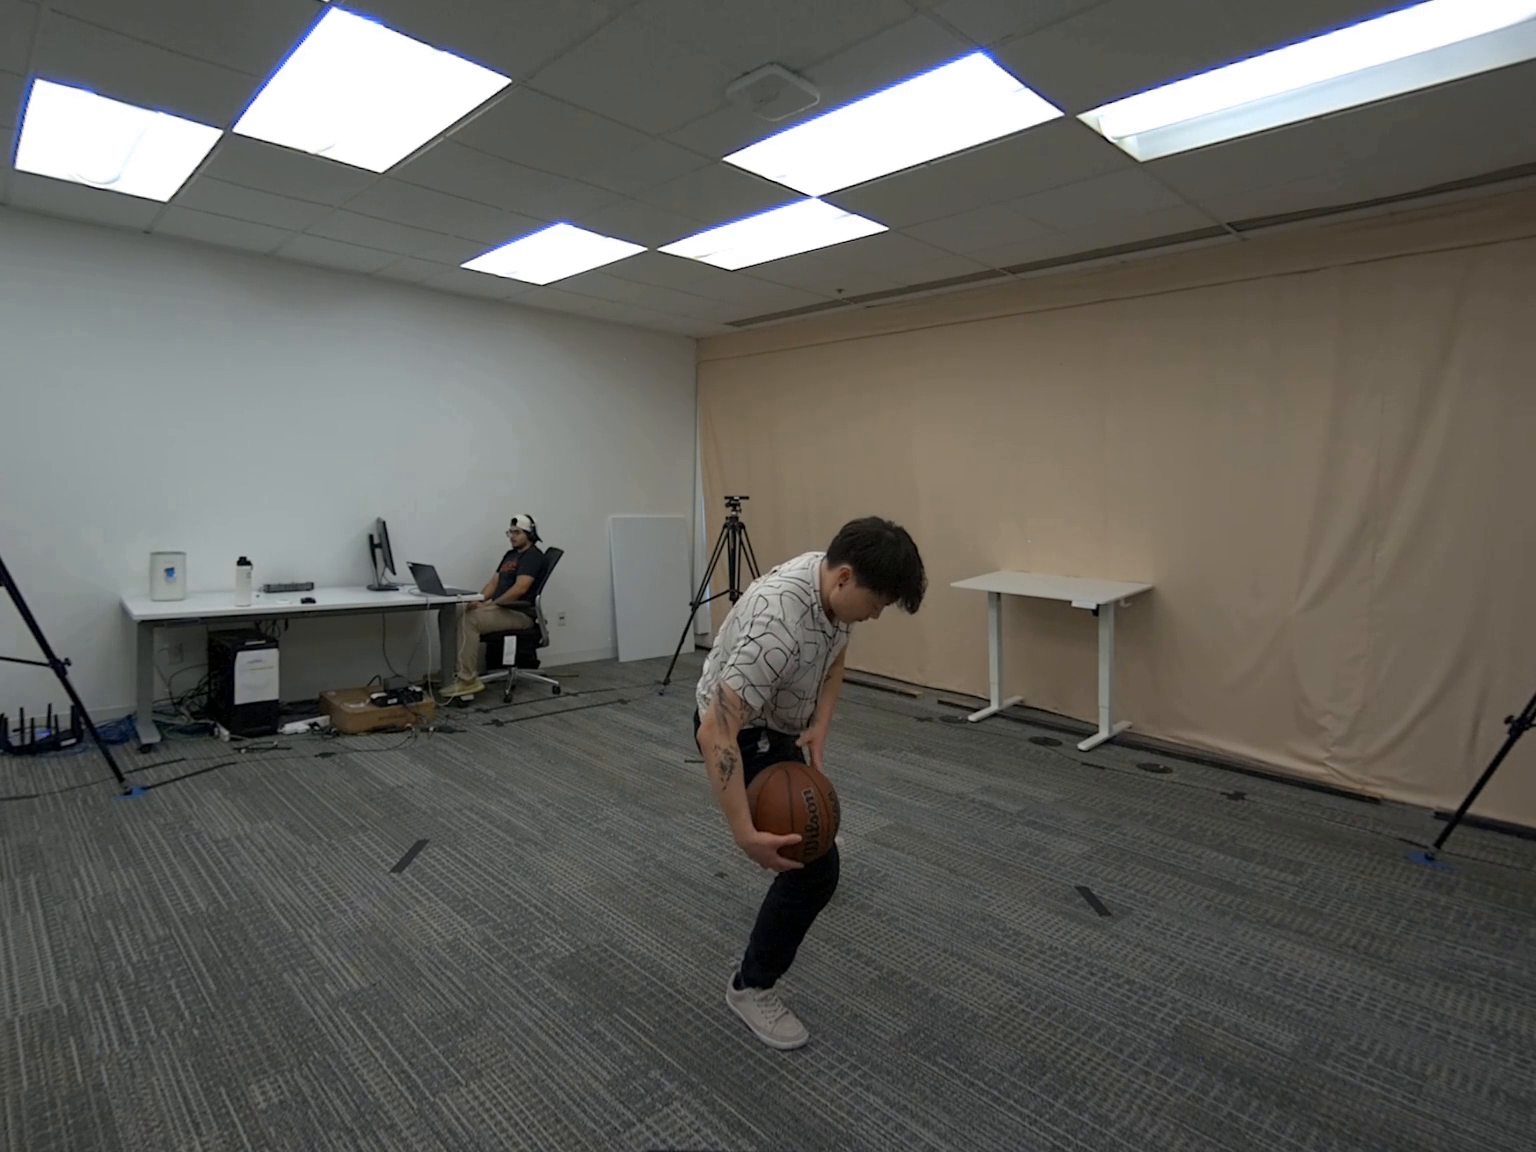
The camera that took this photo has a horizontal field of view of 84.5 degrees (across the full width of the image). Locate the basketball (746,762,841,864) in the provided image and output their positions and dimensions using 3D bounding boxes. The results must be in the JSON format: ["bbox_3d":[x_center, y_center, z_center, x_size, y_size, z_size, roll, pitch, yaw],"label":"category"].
[{"bbox_3d":[0.049,0.567,2.028,0.236,0.235,0.237,1,4,-1],"label":"basketball"}]
